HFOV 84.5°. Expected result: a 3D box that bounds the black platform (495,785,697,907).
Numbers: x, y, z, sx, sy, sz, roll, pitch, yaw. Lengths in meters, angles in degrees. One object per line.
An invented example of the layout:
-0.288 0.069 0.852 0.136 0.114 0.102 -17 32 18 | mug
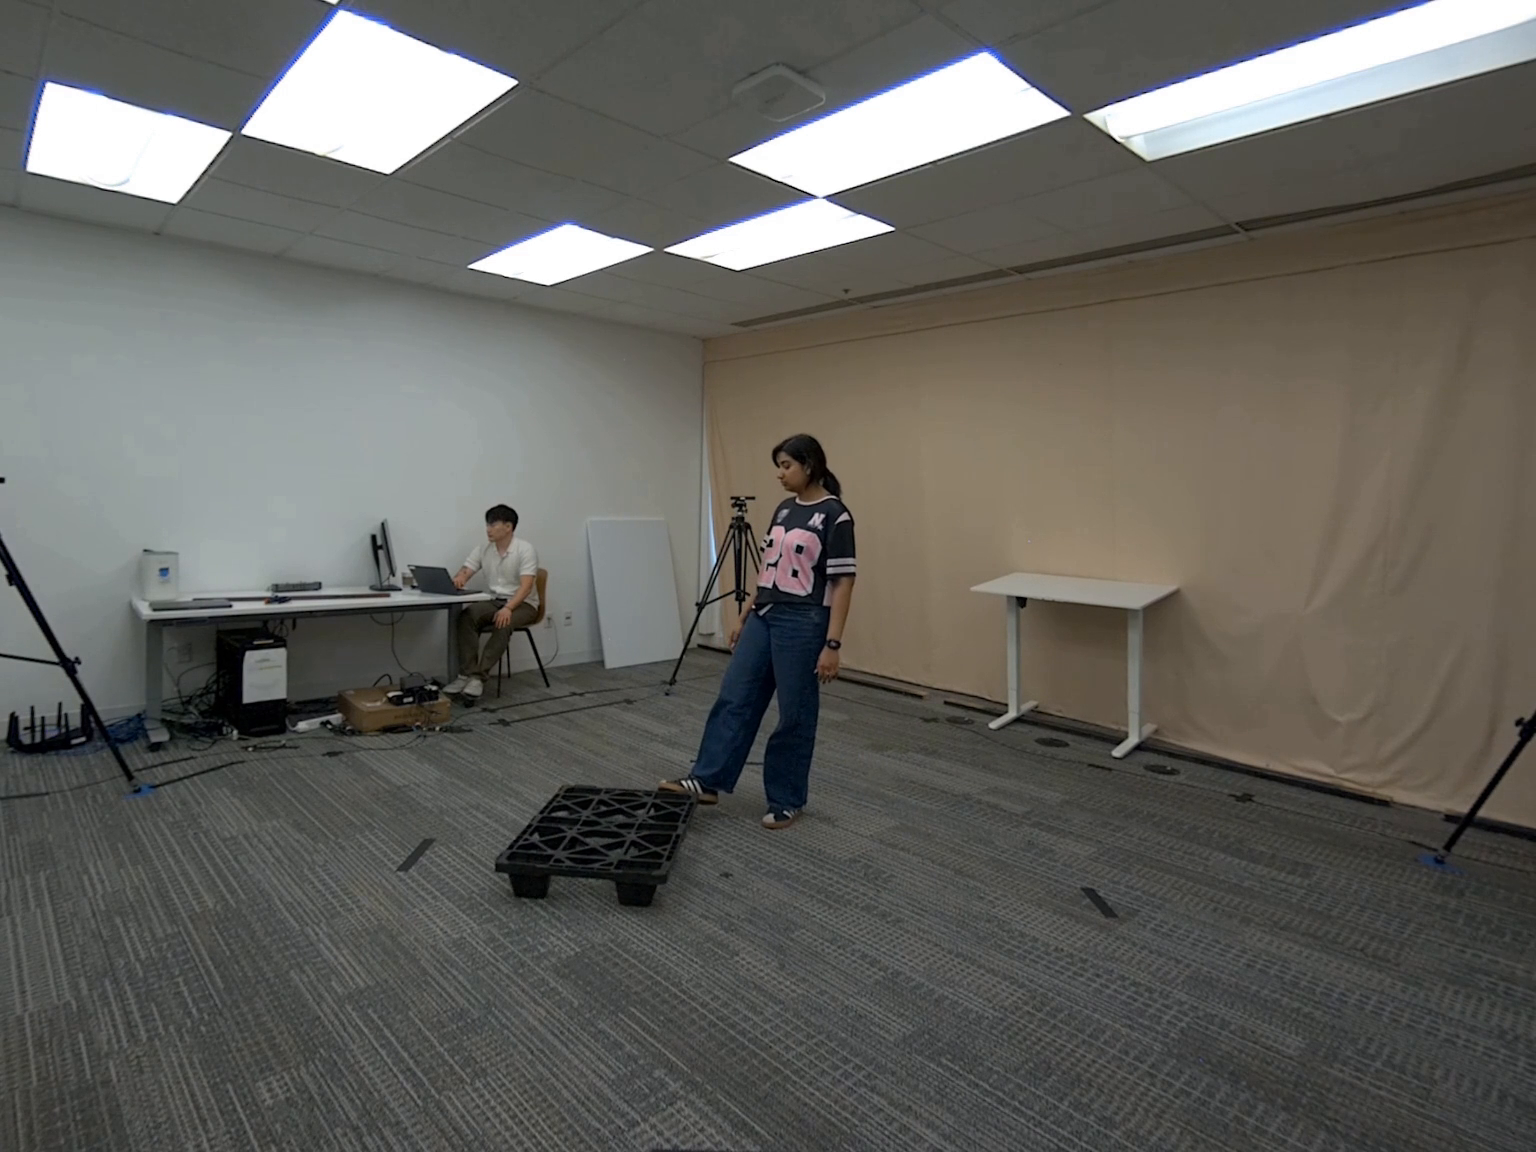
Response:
-0.622 1.014 3.229 0.608 0.143 0.805 2 5 4 | black platform
